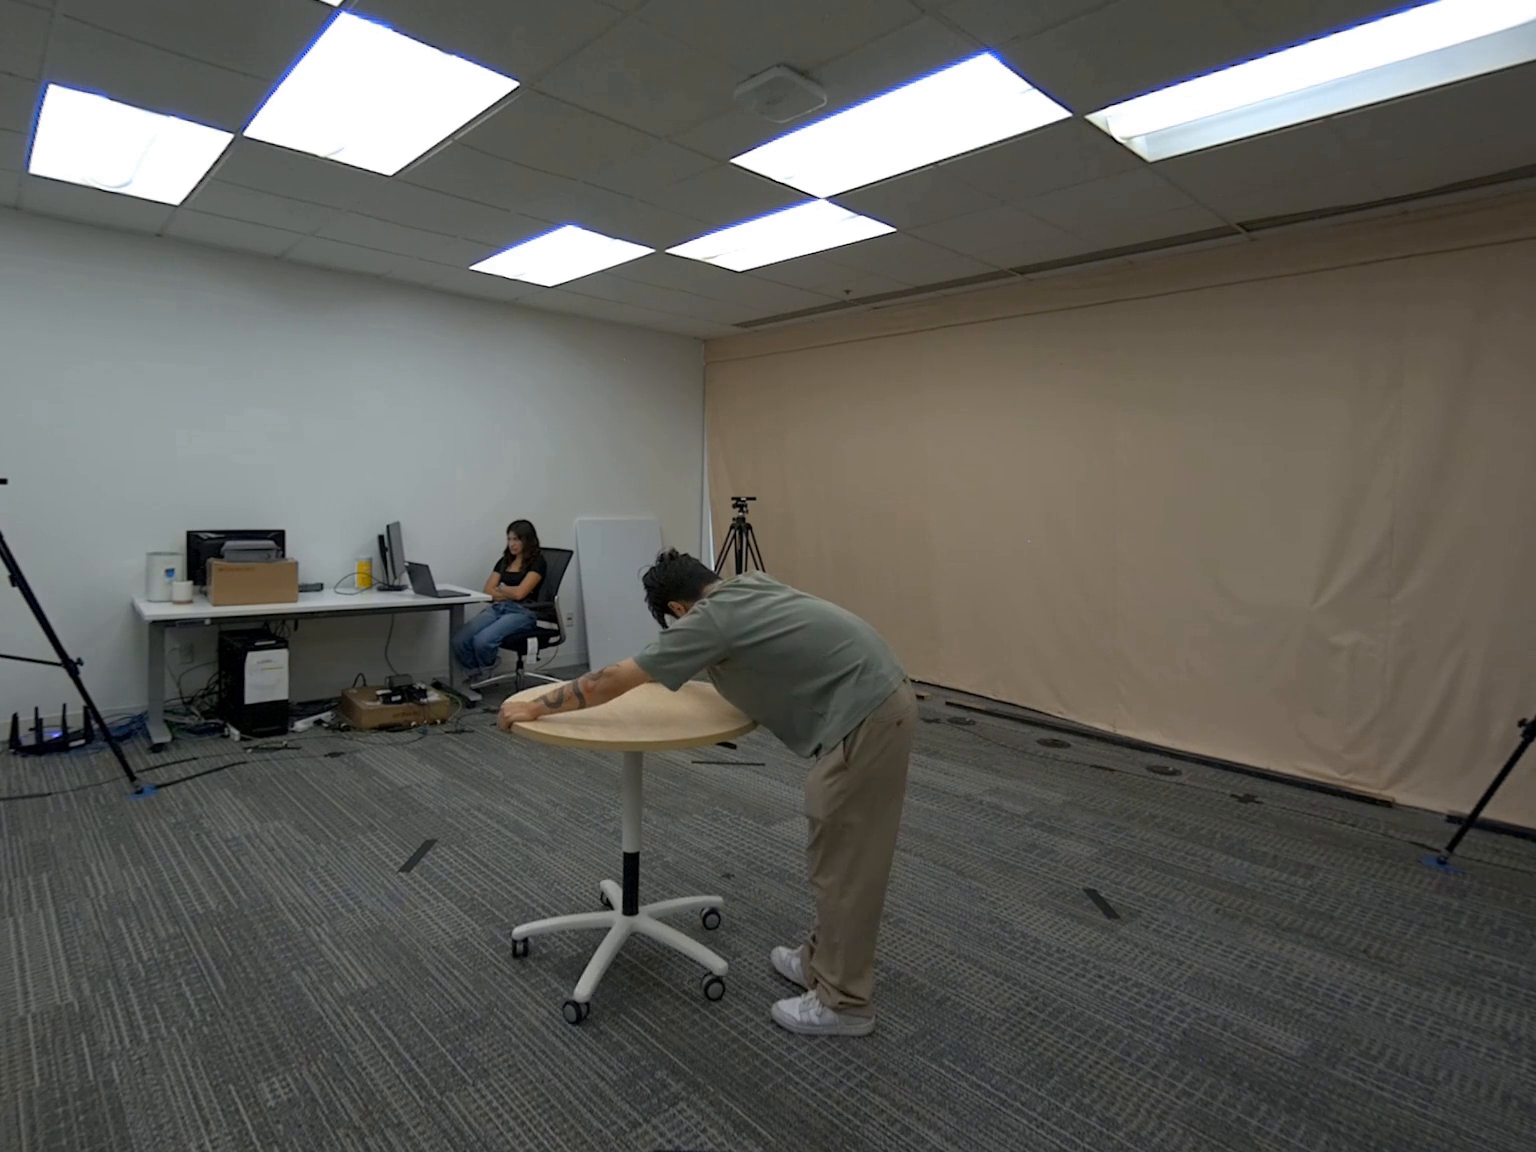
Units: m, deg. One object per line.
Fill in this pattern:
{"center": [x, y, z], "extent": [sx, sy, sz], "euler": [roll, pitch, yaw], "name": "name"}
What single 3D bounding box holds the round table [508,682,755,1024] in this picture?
{"center": [-0.425, 0.769, 2.510], "extent": [0.784, 0.784, 0.788], "euler": [1, 4, -1], "name": "round table"}
